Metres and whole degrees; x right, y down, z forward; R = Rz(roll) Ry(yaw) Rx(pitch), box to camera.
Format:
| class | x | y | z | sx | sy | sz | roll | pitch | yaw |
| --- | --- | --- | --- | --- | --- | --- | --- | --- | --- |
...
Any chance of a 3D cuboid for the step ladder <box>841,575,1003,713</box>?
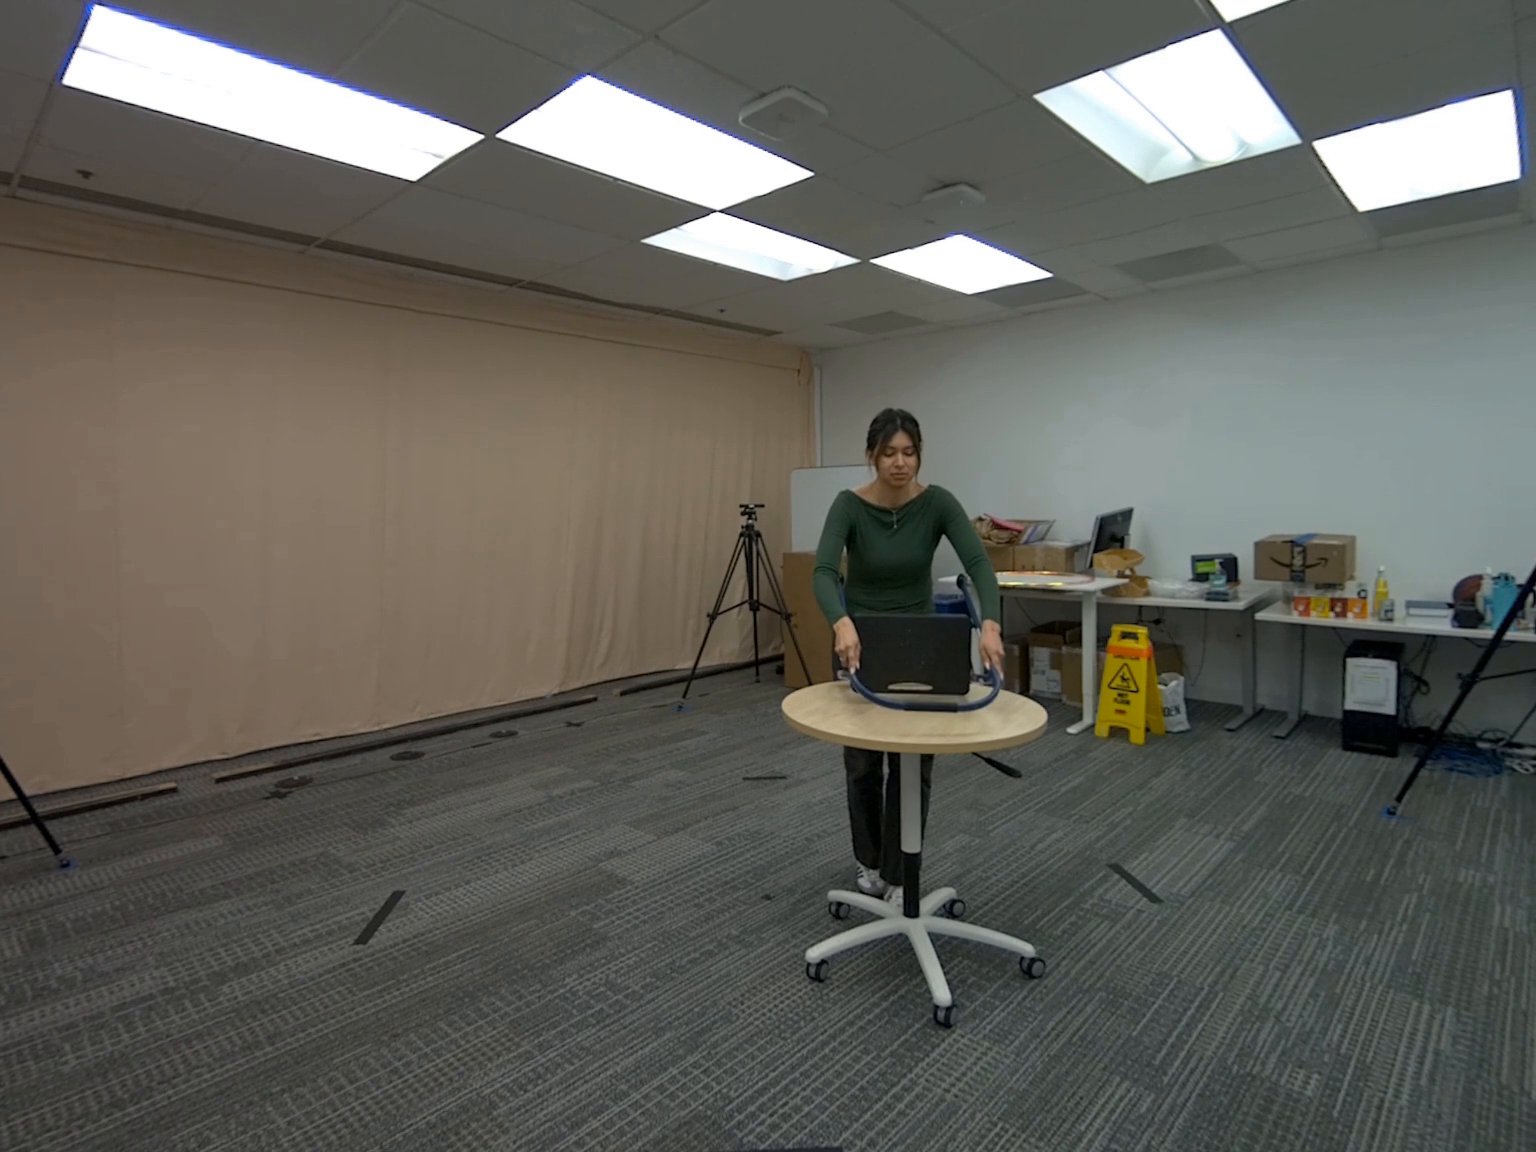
| class | x | y | z | sx | sy | sz | roll | pitch | yaw |
| --- | --- | --- | --- | --- | --- | --- | --- | --- | --- |
| step ladder | 0.440 | 0.224 | 2.464 | 0.433 | 0.347 | 0.607 | -1 | 9 | 3 |
